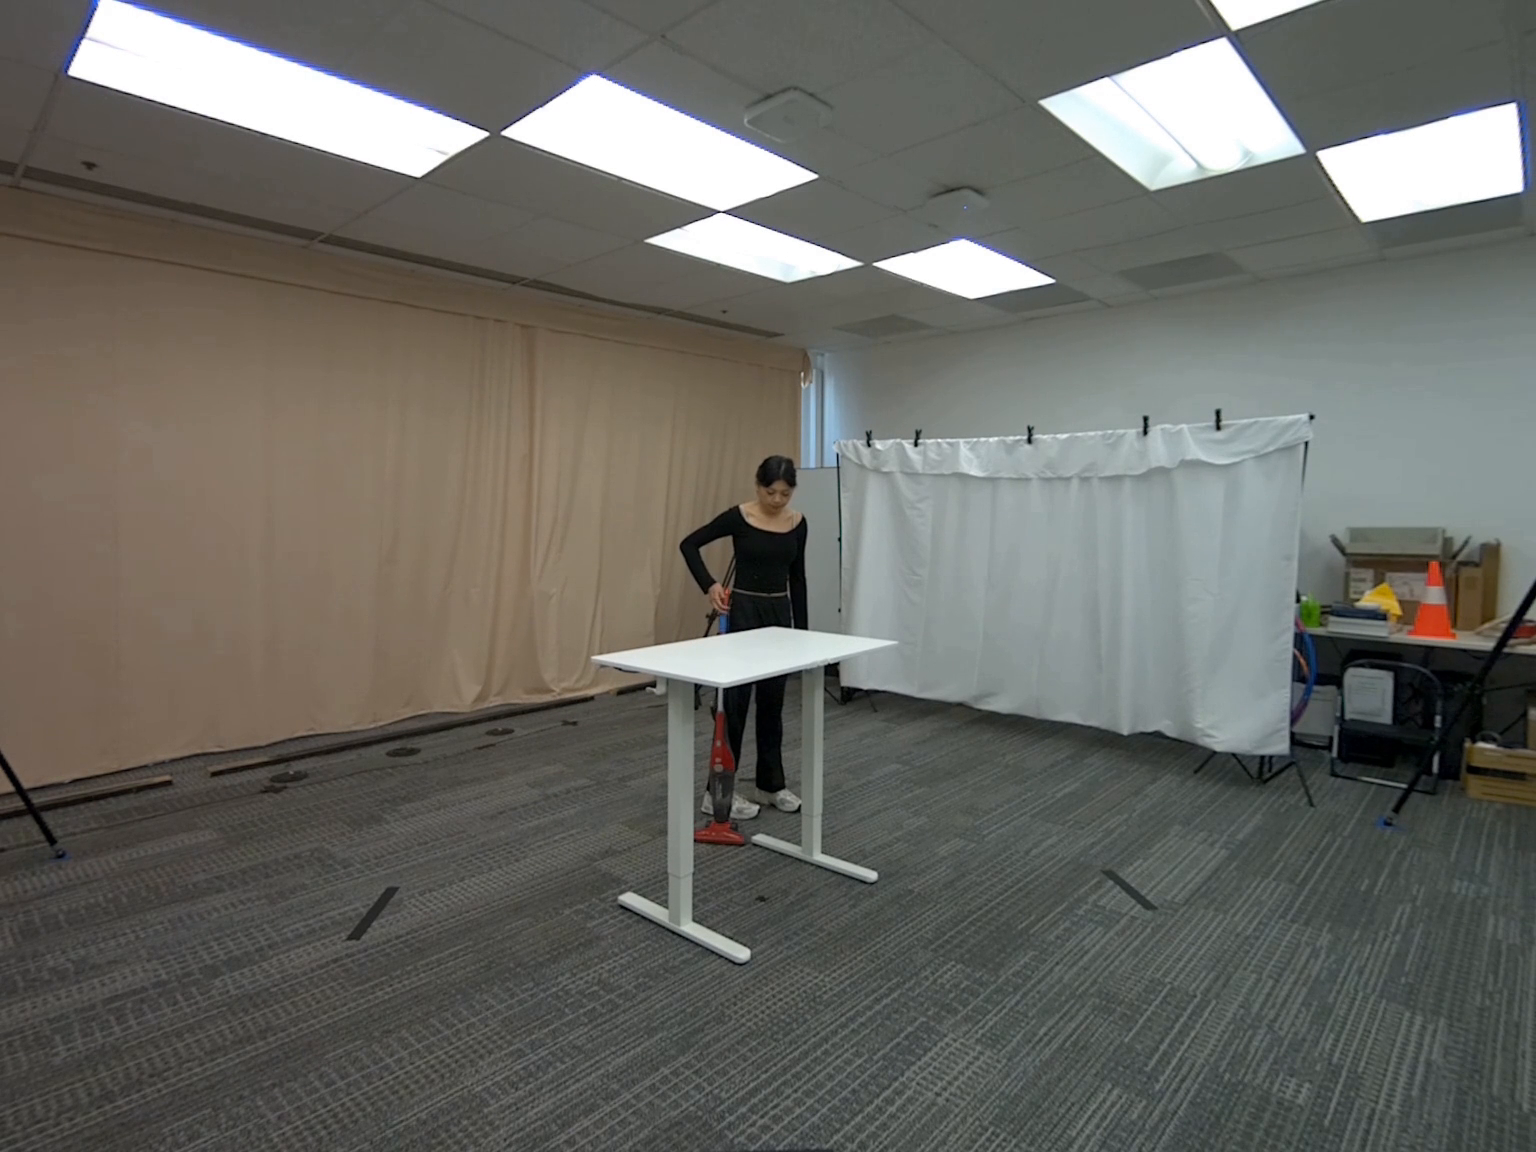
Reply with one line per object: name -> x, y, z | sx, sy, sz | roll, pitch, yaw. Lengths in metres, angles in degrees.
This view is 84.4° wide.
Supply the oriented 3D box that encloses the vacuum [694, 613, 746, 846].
vacuum -> -0.190, 0.583, 3.667 | 0.257, 1.059, 0.140 | -4, -16, 17
